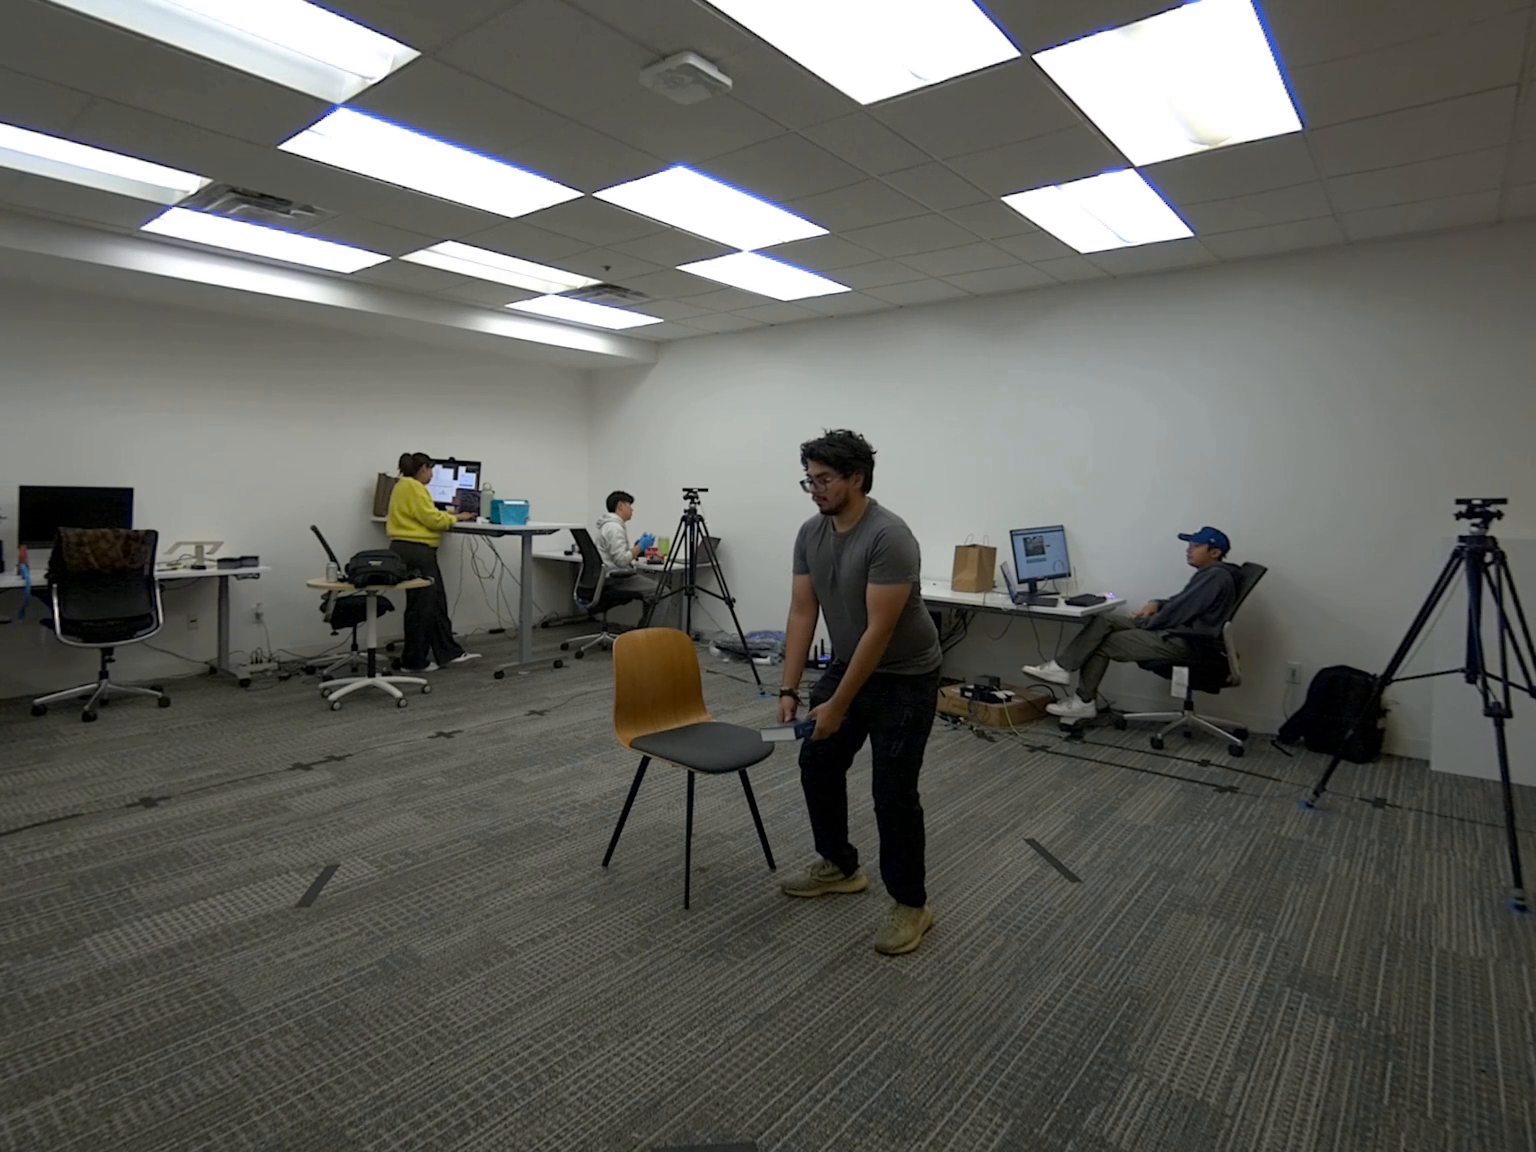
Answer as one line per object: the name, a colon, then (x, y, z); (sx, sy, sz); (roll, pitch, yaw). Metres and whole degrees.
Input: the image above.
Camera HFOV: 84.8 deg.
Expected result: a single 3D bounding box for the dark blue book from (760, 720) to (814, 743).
dark blue book: (0.102, 0.471, 2.627); (0.238, 0.045, 0.166); (-3, -9, -39)
